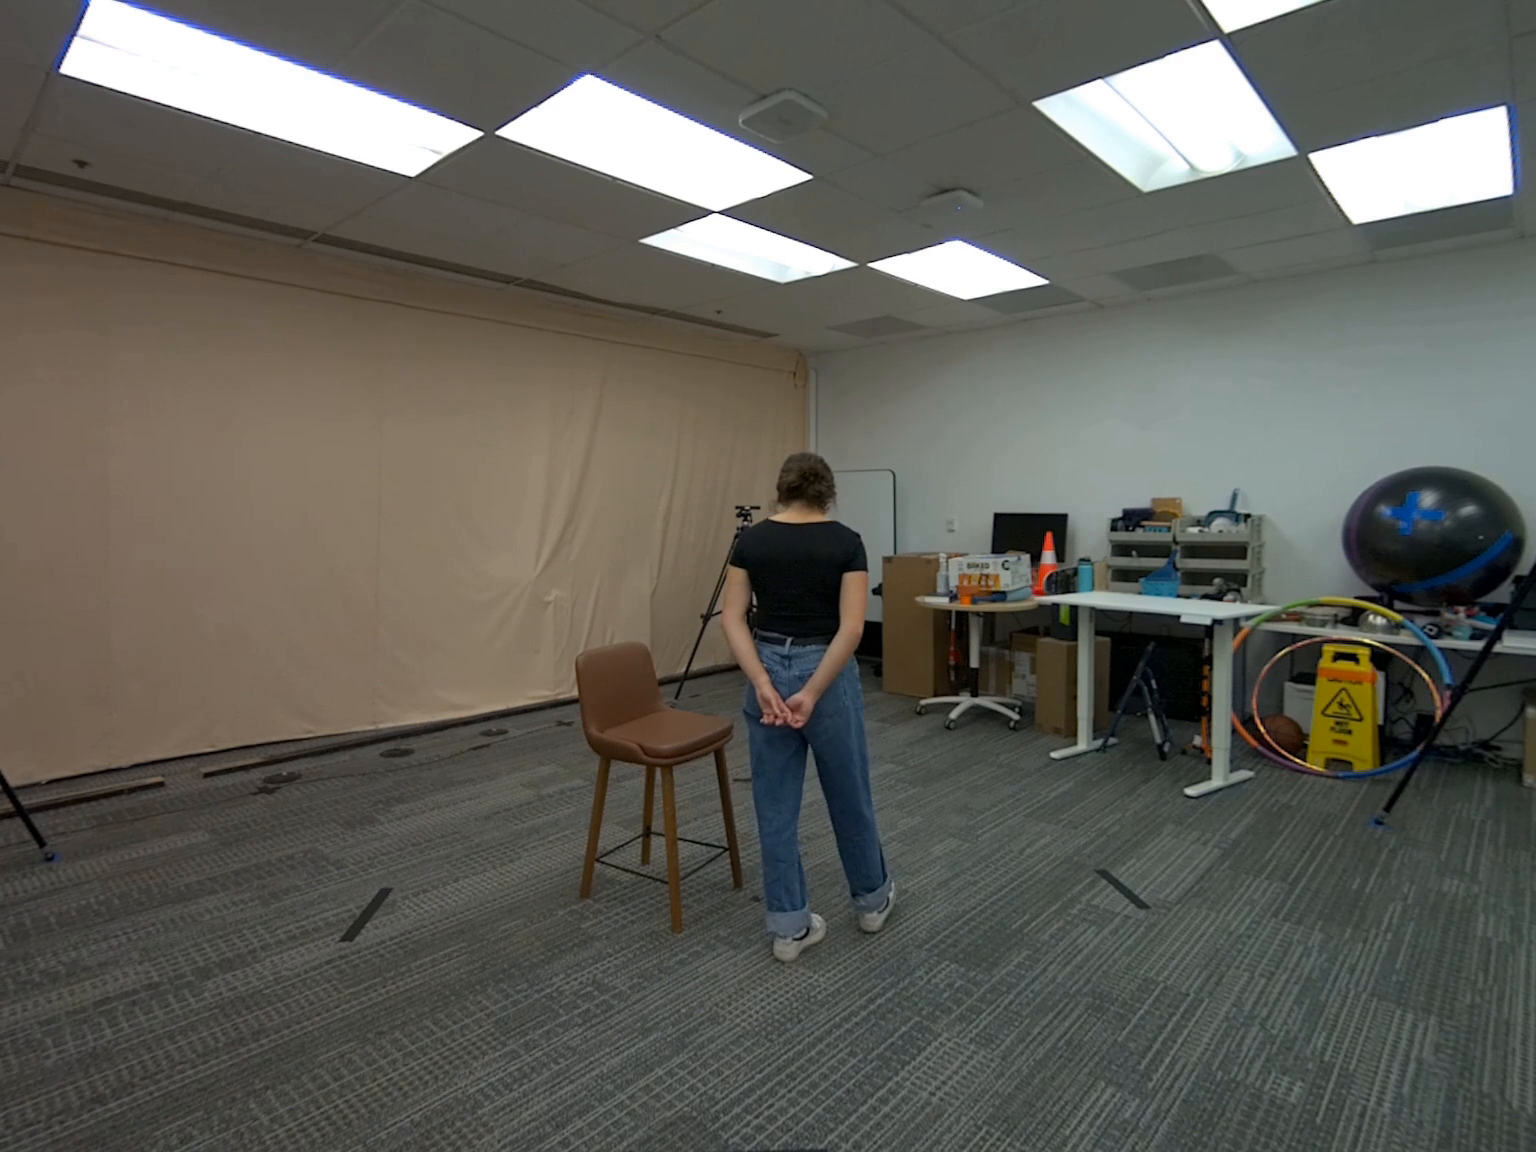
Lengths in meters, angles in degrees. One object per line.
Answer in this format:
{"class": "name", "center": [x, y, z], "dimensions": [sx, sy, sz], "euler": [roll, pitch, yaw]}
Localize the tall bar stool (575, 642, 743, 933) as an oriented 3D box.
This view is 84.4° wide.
{"class": "tall bar stool", "center": [-0.393, 0.709, 3.015], "dimensions": [0.481, 0.888, 0.444], "euler": [0, 3, 33]}
